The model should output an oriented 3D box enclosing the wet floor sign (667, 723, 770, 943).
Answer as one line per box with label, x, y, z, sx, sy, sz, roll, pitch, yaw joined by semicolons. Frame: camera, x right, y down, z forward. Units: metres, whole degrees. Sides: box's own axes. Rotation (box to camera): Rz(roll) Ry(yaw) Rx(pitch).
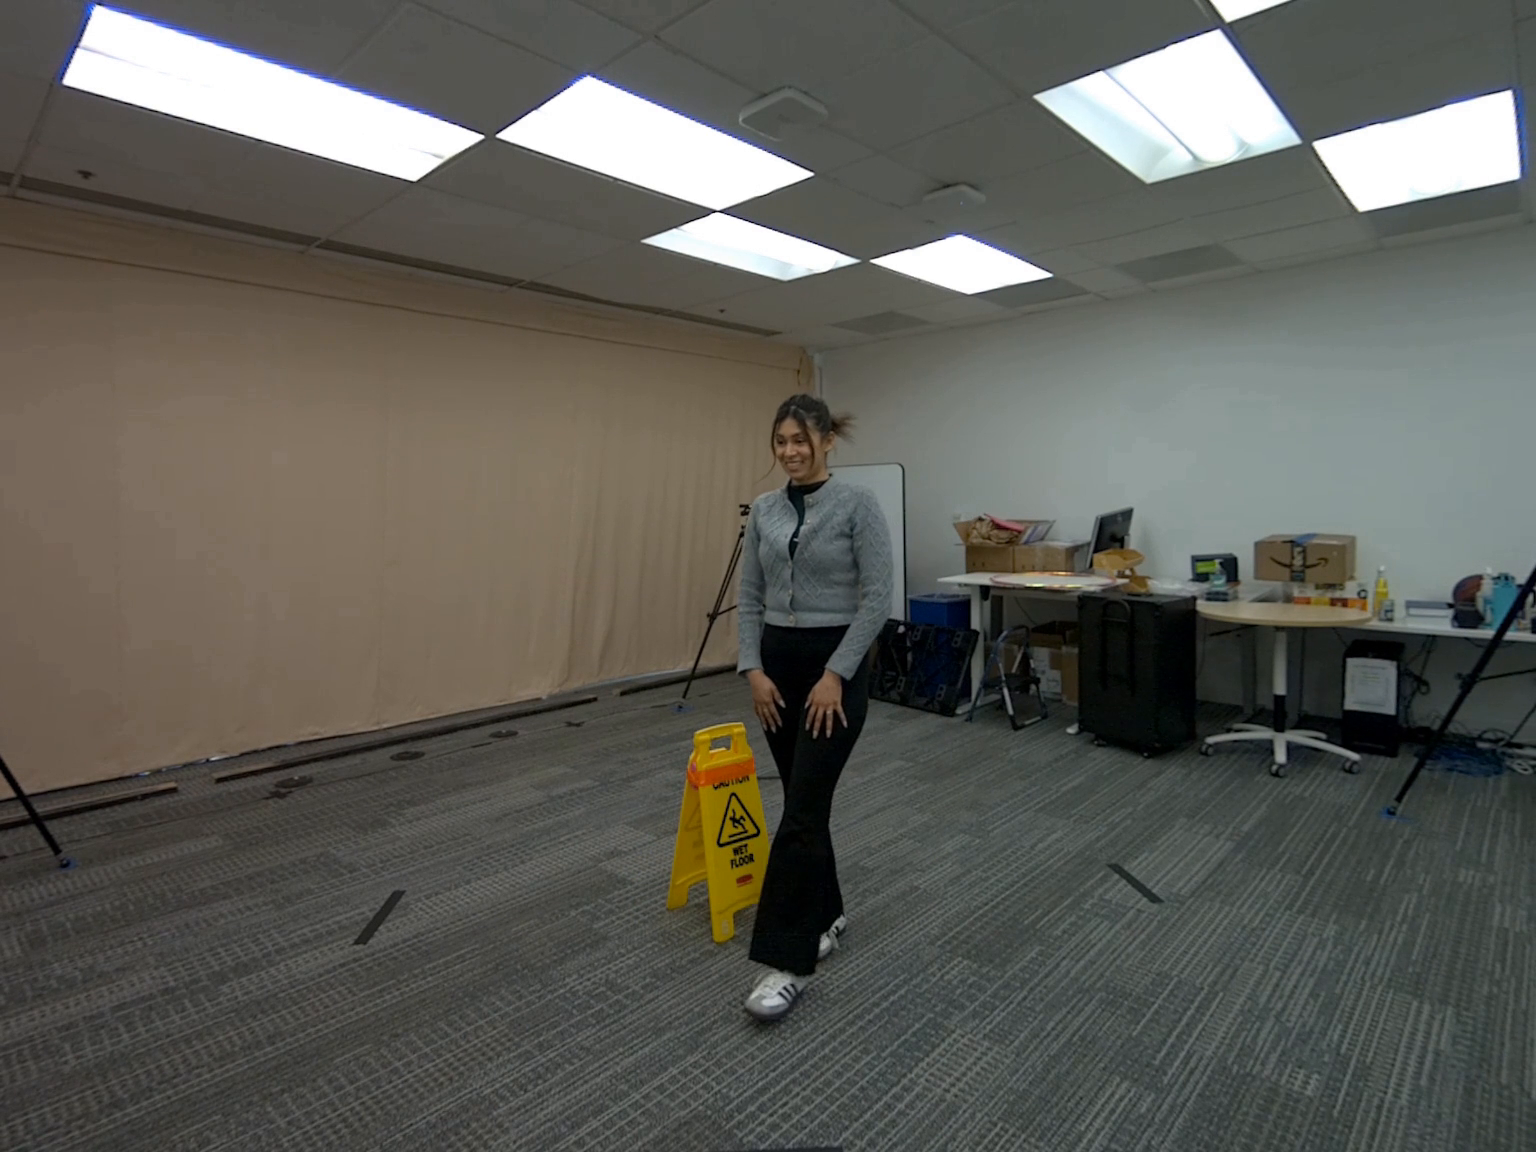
wet floor sign;-0.156;0.830;2.857;0.274;0.645;0.299;-3;3;-38
